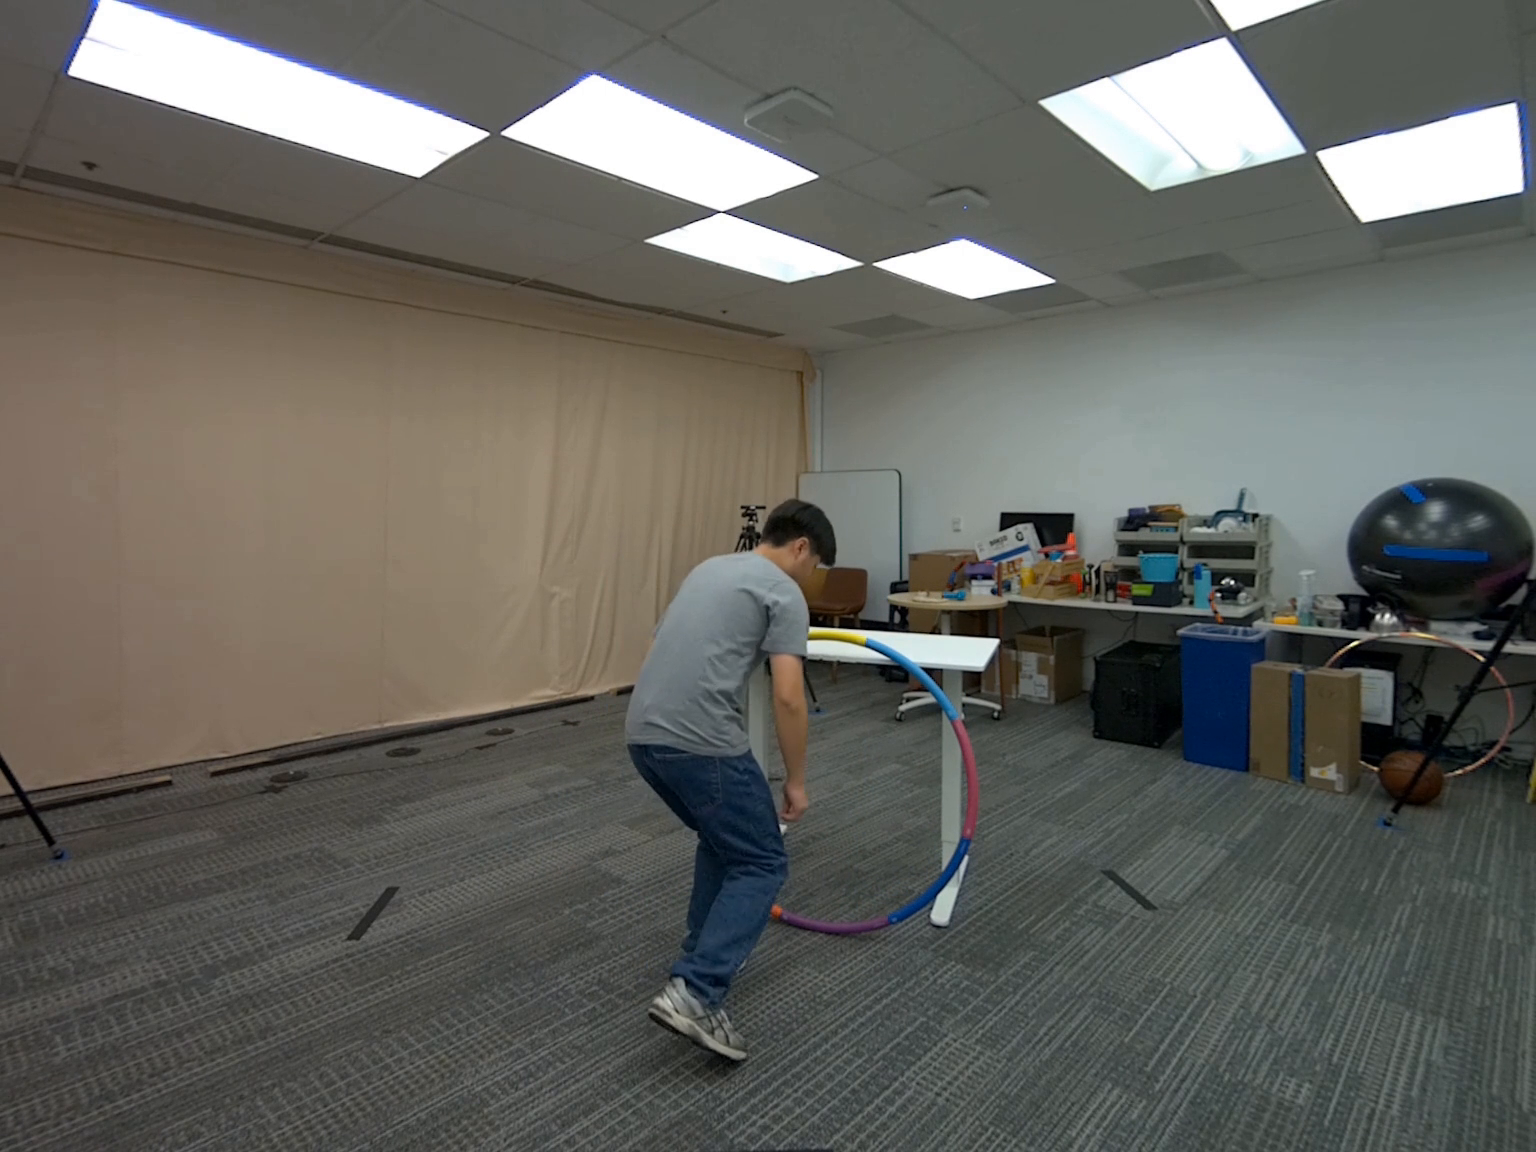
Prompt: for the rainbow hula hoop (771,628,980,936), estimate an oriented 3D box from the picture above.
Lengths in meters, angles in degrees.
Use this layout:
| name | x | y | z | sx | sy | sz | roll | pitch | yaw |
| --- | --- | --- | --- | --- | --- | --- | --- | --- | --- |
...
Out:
| name | x | y | z | sx | sy | sz | roll | pitch | yaw |
| --- | --- | --- | --- | --- | --- | --- | --- | --- | --- |
| rainbow hula hoop | 0.188 | 0.678 | 2.808 | 1.001 | 0.982 | 0.034 | 1 | -7 | 22 |
